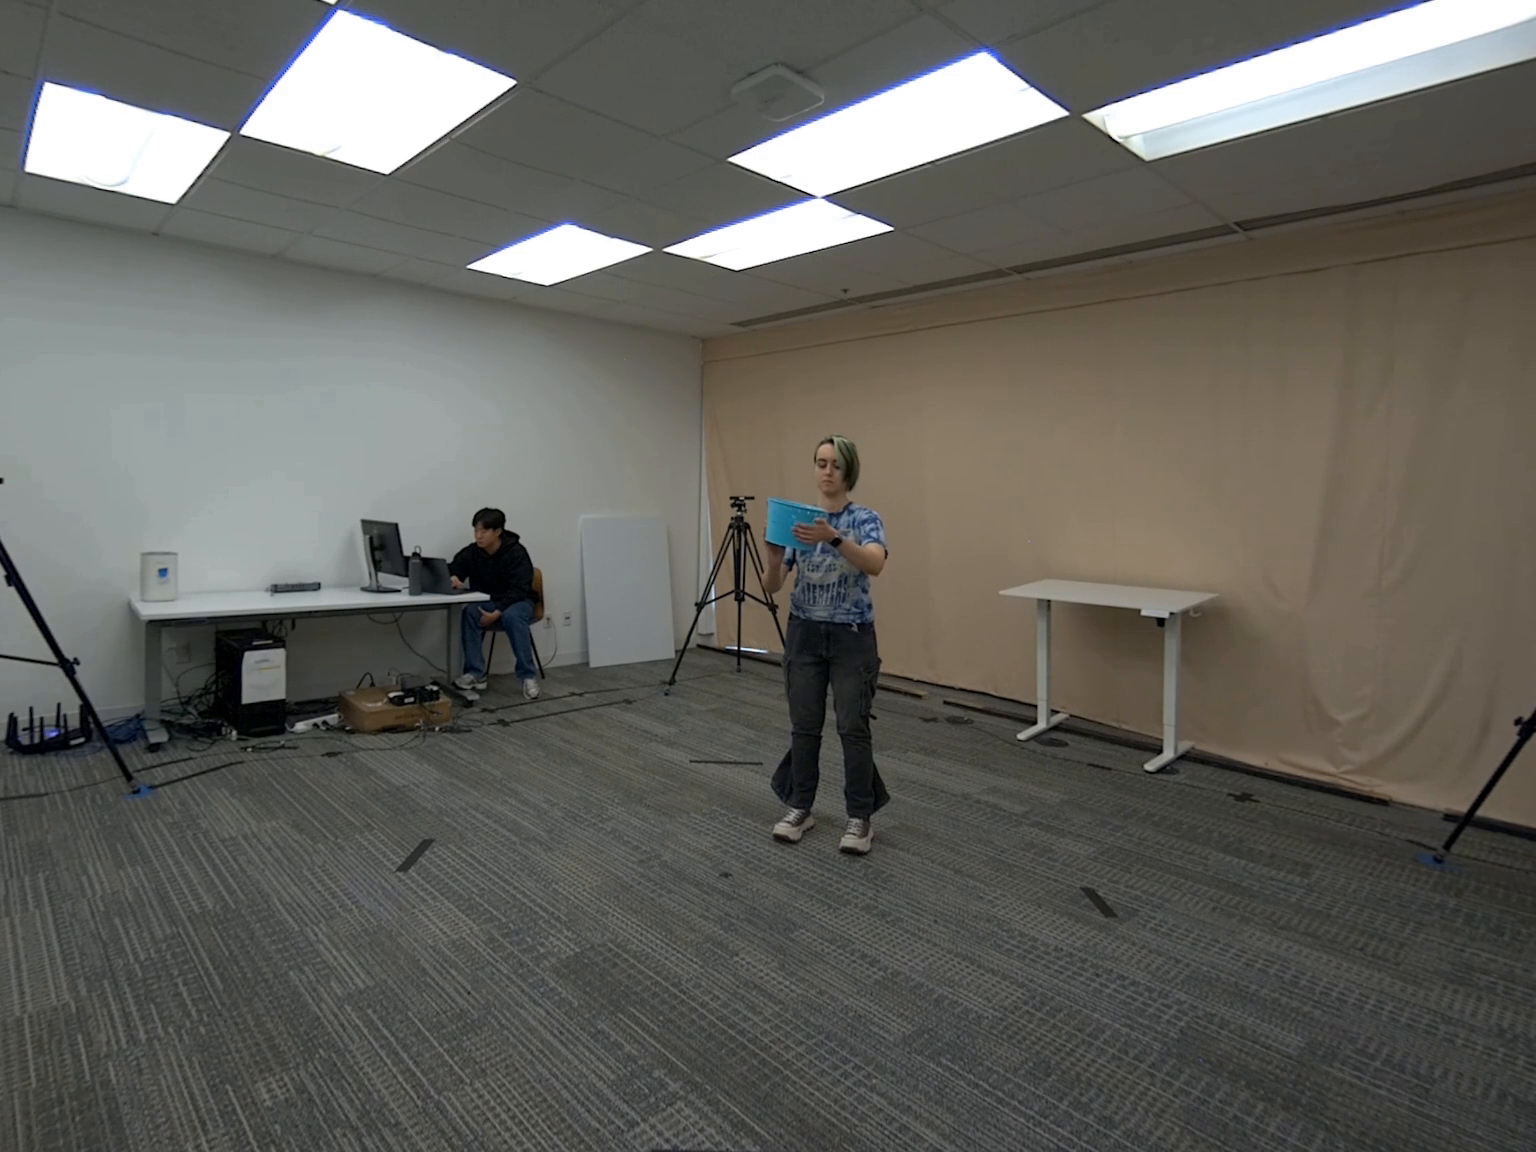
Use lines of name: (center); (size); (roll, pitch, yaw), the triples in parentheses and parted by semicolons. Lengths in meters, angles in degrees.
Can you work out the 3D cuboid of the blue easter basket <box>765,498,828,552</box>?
blue easter basket: (0.094, -0.190, 3.104); (0.243, 0.155, 0.245); (10, 8, -3)
